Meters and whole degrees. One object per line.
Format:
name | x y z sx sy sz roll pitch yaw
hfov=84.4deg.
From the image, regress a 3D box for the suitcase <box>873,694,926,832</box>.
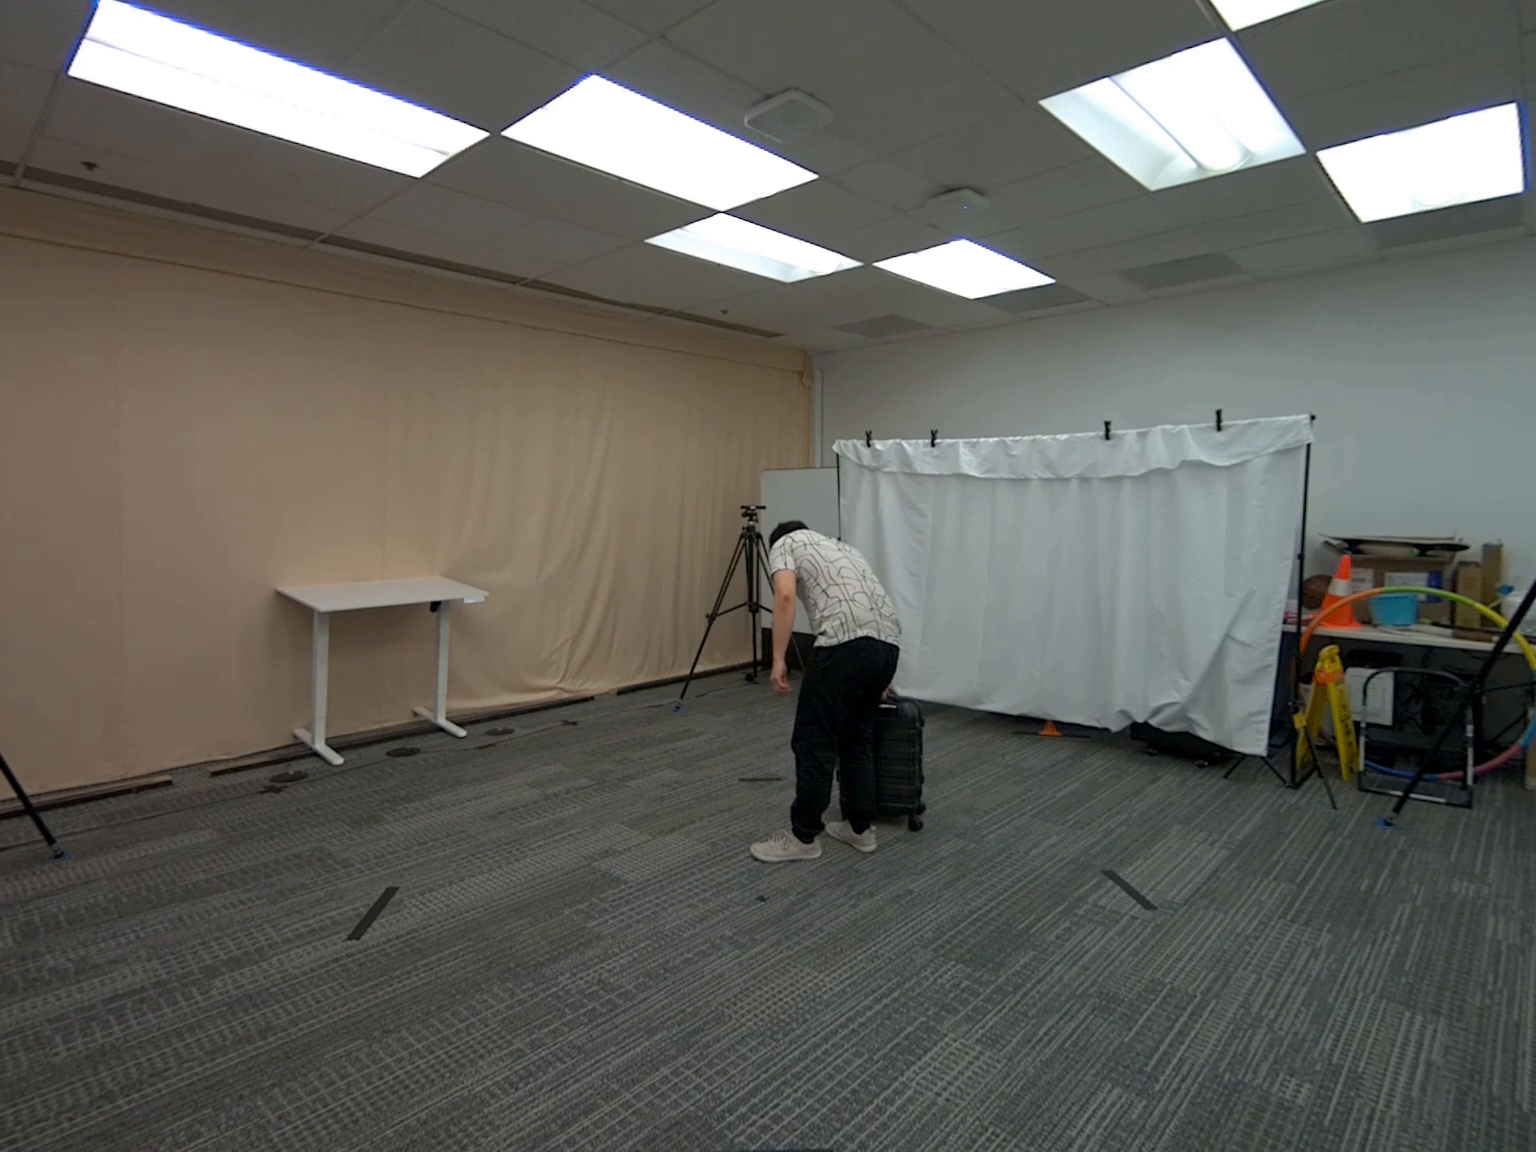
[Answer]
suitcase | 0.500 0.802 3.755 0.382 0.548 0.244 -1 3 15
